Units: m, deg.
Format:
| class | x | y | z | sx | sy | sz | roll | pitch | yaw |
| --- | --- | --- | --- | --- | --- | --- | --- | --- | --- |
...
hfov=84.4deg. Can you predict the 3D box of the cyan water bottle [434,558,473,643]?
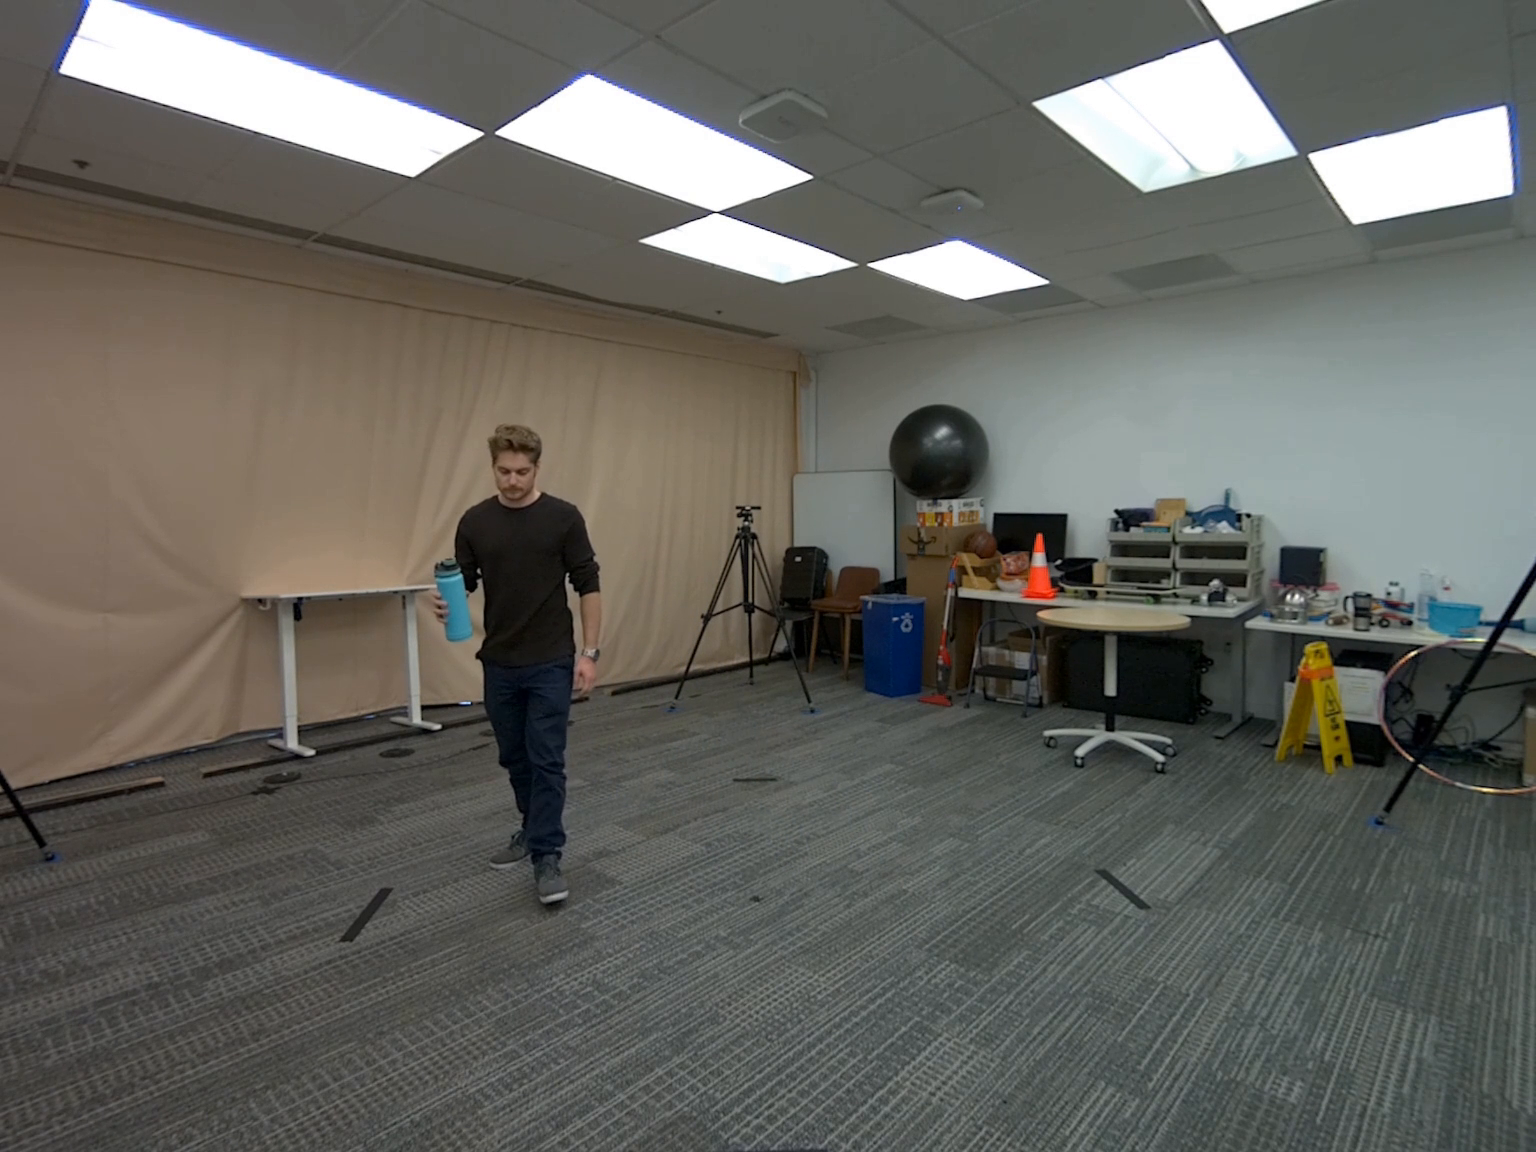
| class | x | y | z | sx | sy | sz | roll | pitch | yaw |
| --- | --- | --- | --- | --- | --- | --- | --- | --- | --- |
| cyan water bottle | -1.062 | 0.075 | 2.853 | 0.092 | 0.280 | 0.093 | -3 | 16 | -1 |
